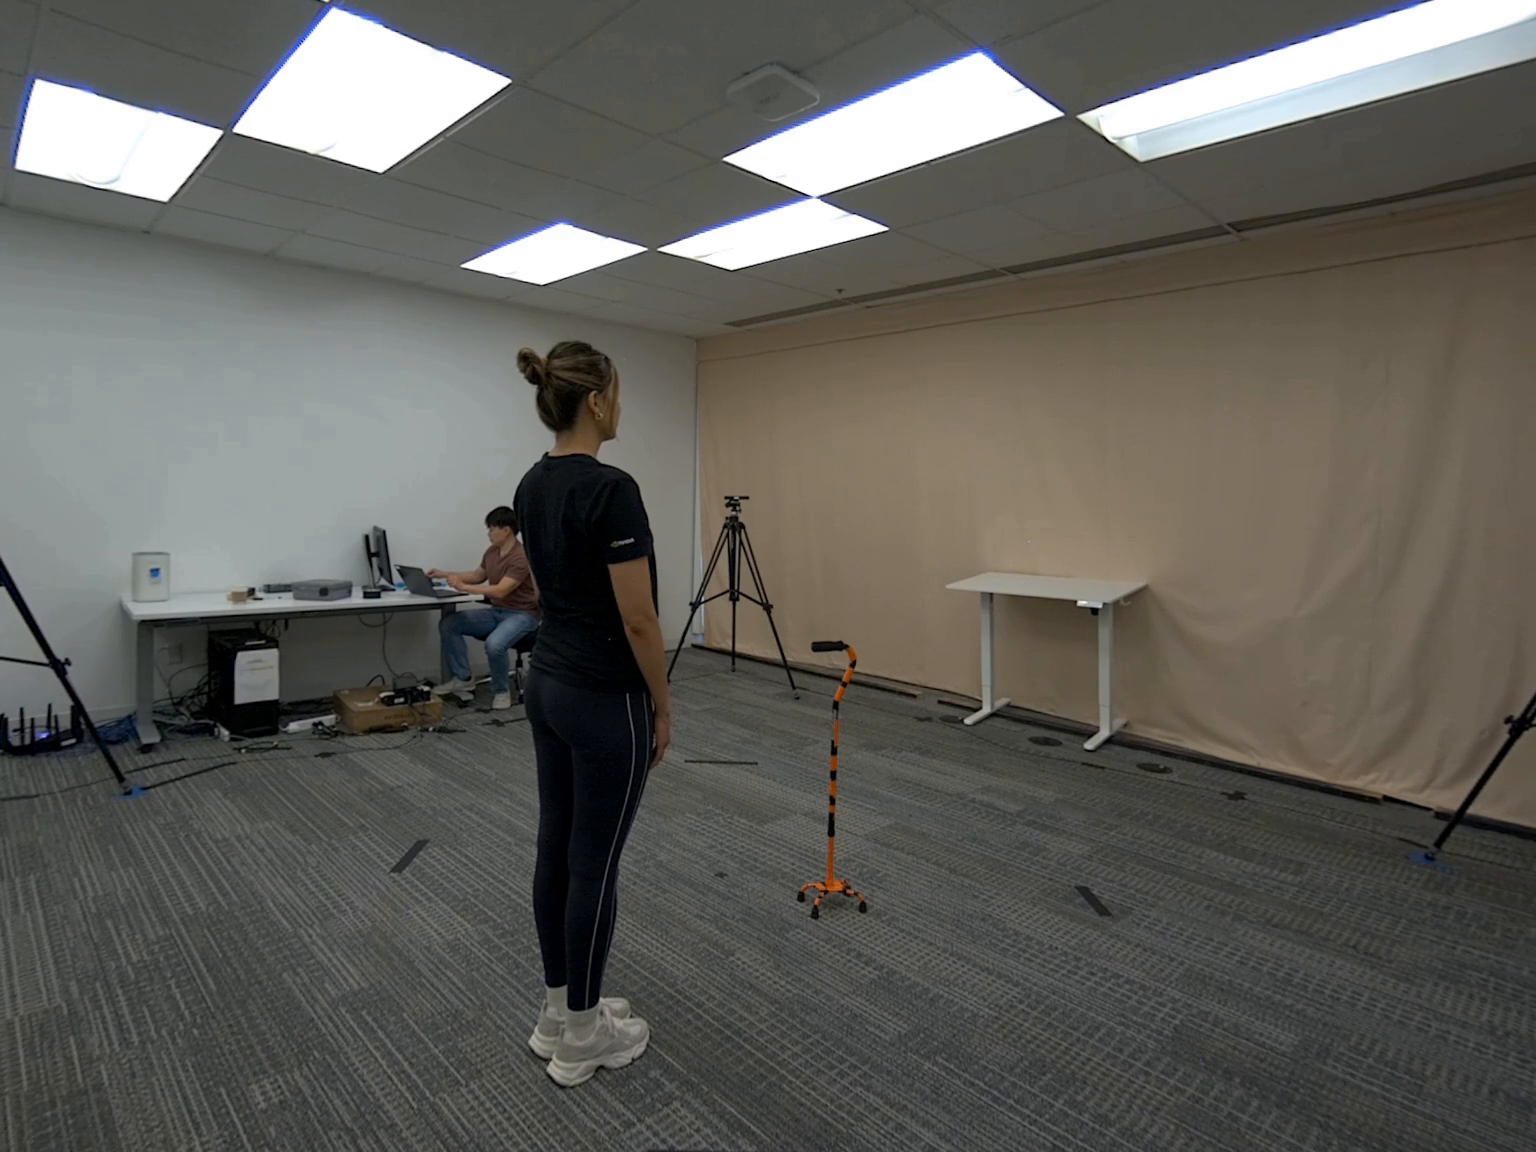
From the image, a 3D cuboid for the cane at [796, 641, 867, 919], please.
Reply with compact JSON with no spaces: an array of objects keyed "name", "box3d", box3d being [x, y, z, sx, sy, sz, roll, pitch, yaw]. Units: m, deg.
[{"name":"cane","box3d":[0.225,0.682,2.861,0.204,0.906,0.154,1,2,-16]}]
